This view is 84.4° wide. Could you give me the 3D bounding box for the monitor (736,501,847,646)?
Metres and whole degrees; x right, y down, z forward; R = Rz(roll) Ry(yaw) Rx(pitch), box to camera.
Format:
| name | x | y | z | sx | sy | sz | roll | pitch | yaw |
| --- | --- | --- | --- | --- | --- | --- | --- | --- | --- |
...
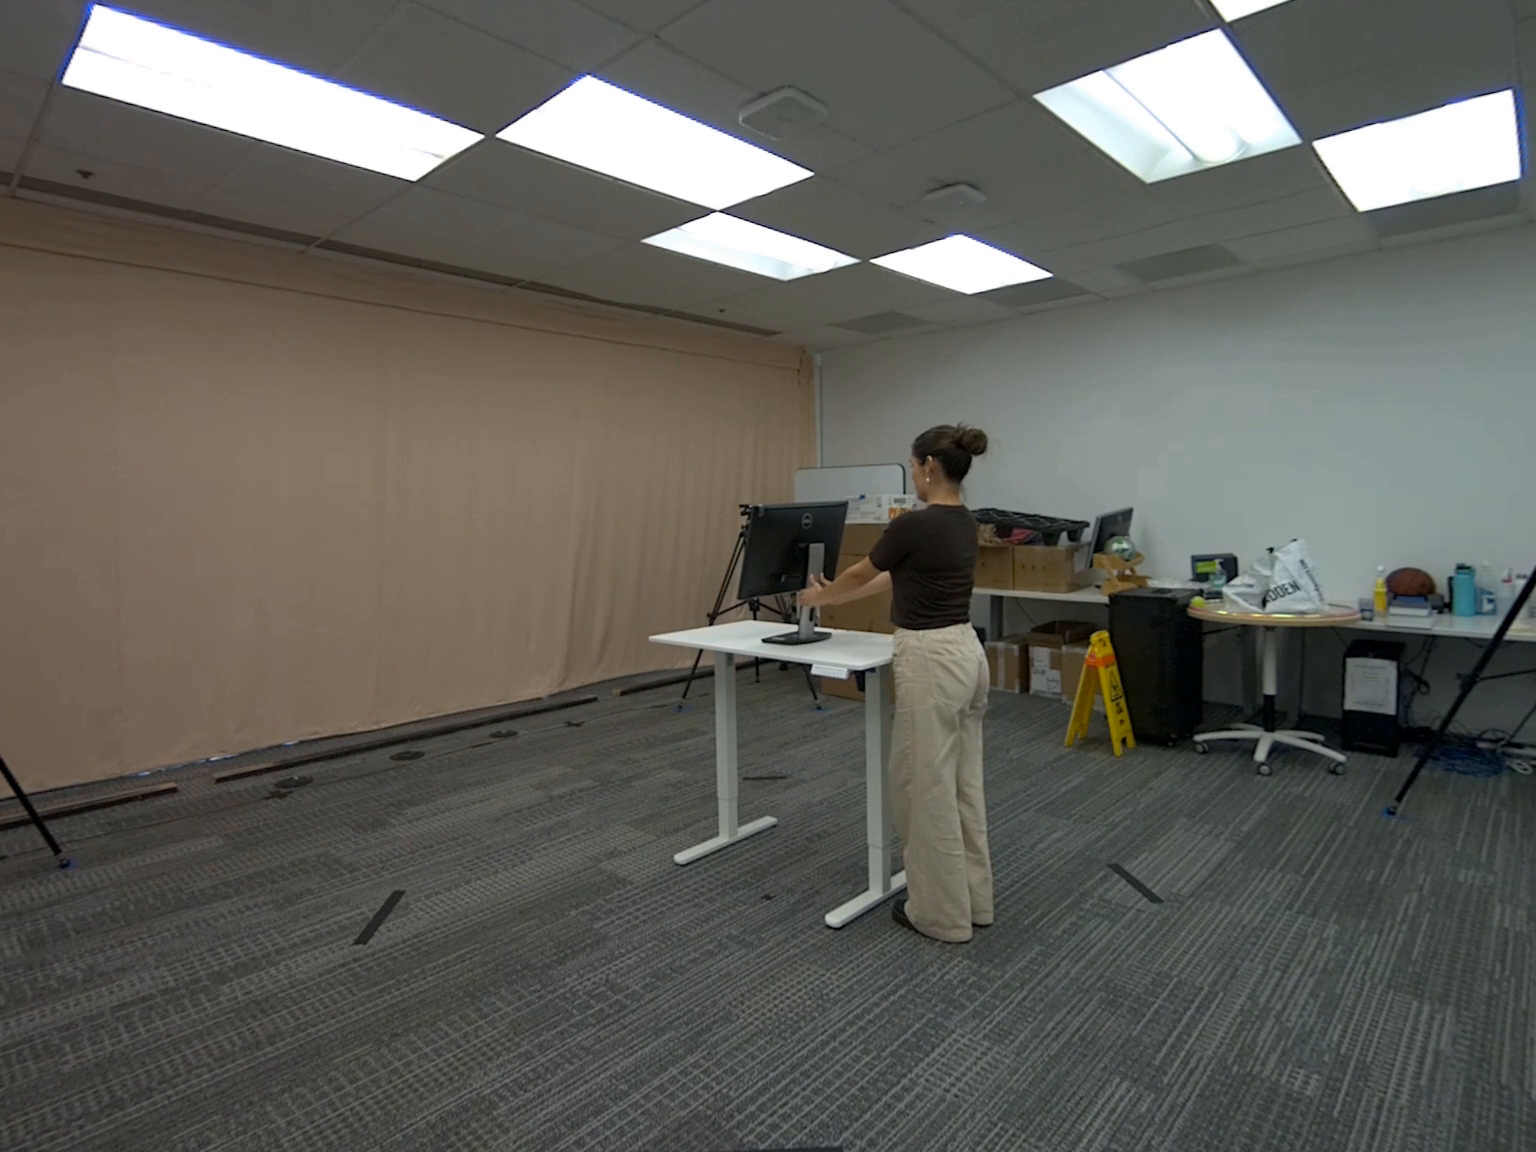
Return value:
| name | x | y | z | sx | sy | sz | roll | pitch | yaw |
| --- | --- | --- | --- | --- | --- | --- | --- | --- | --- |
| monitor | 0.127 | -0.011 | 3.146 | 0.193 | 0.521 | 0.523 | 4 | 7 | 42 |
